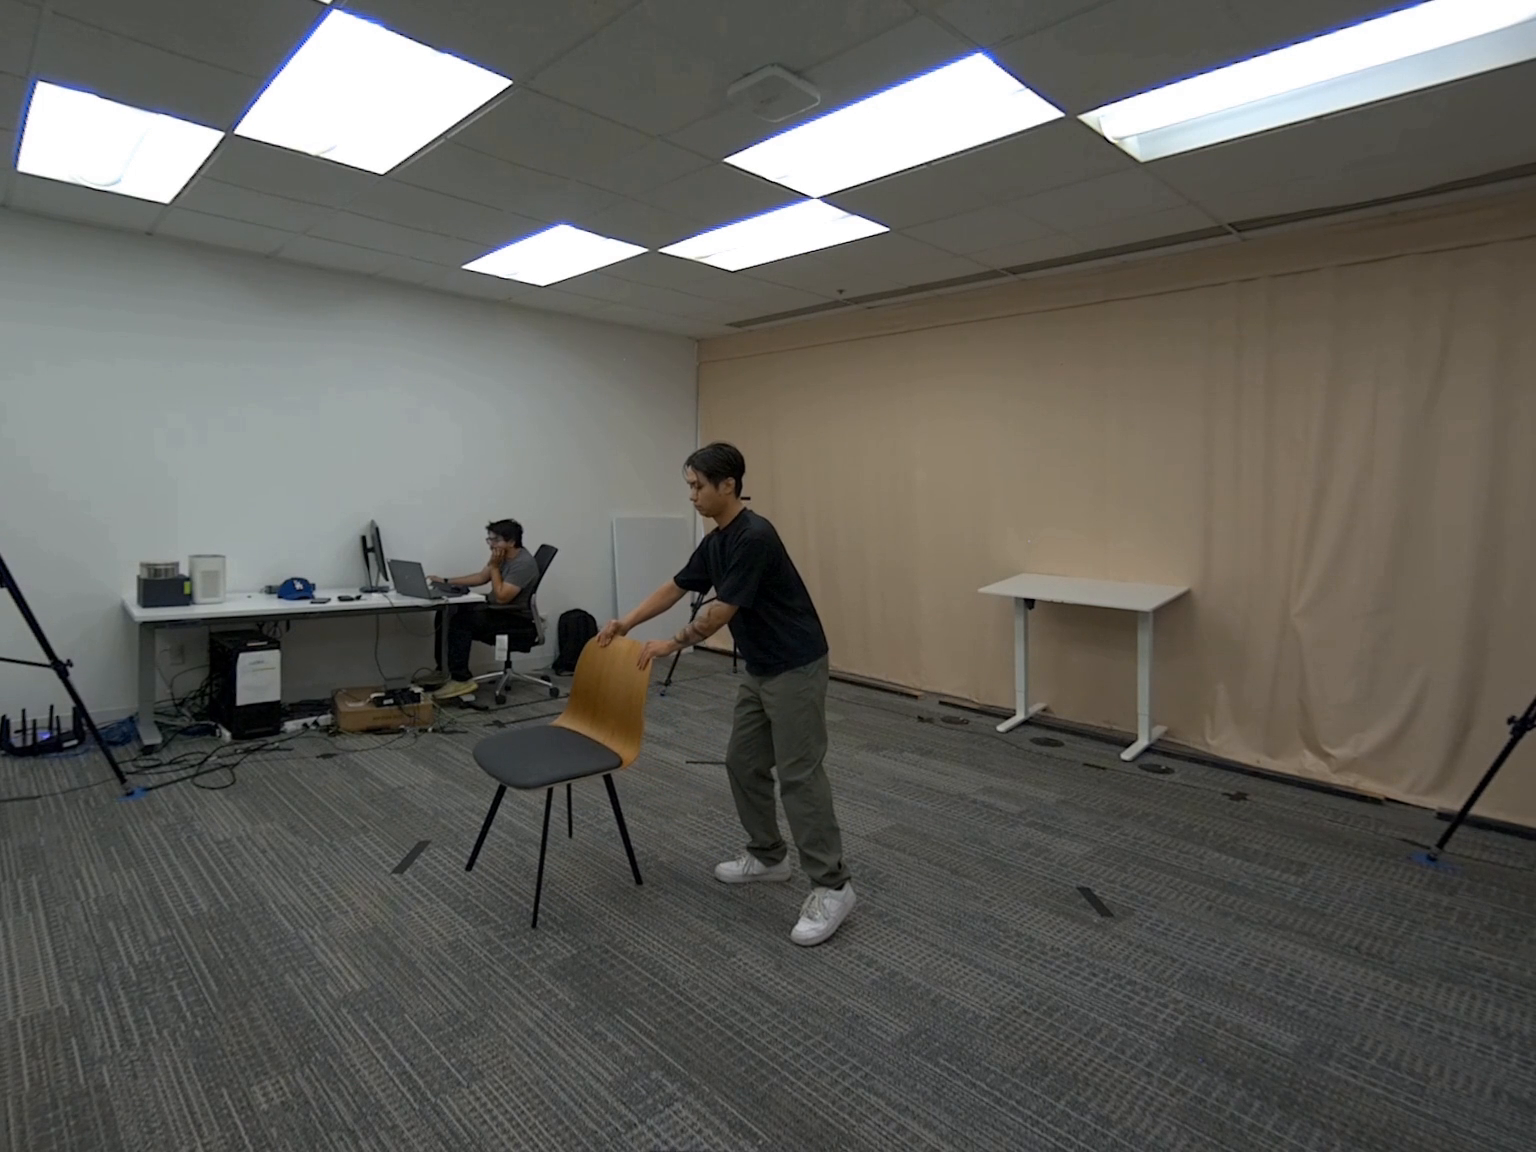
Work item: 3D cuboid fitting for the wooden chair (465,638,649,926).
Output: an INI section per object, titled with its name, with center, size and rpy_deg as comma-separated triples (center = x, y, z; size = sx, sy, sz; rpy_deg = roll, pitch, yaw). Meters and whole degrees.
[wooden chair]
center = -0.734, 0.663, 2.949
size = 0.491, 0.875, 0.510
rpy_deg = 12, 5, 42
